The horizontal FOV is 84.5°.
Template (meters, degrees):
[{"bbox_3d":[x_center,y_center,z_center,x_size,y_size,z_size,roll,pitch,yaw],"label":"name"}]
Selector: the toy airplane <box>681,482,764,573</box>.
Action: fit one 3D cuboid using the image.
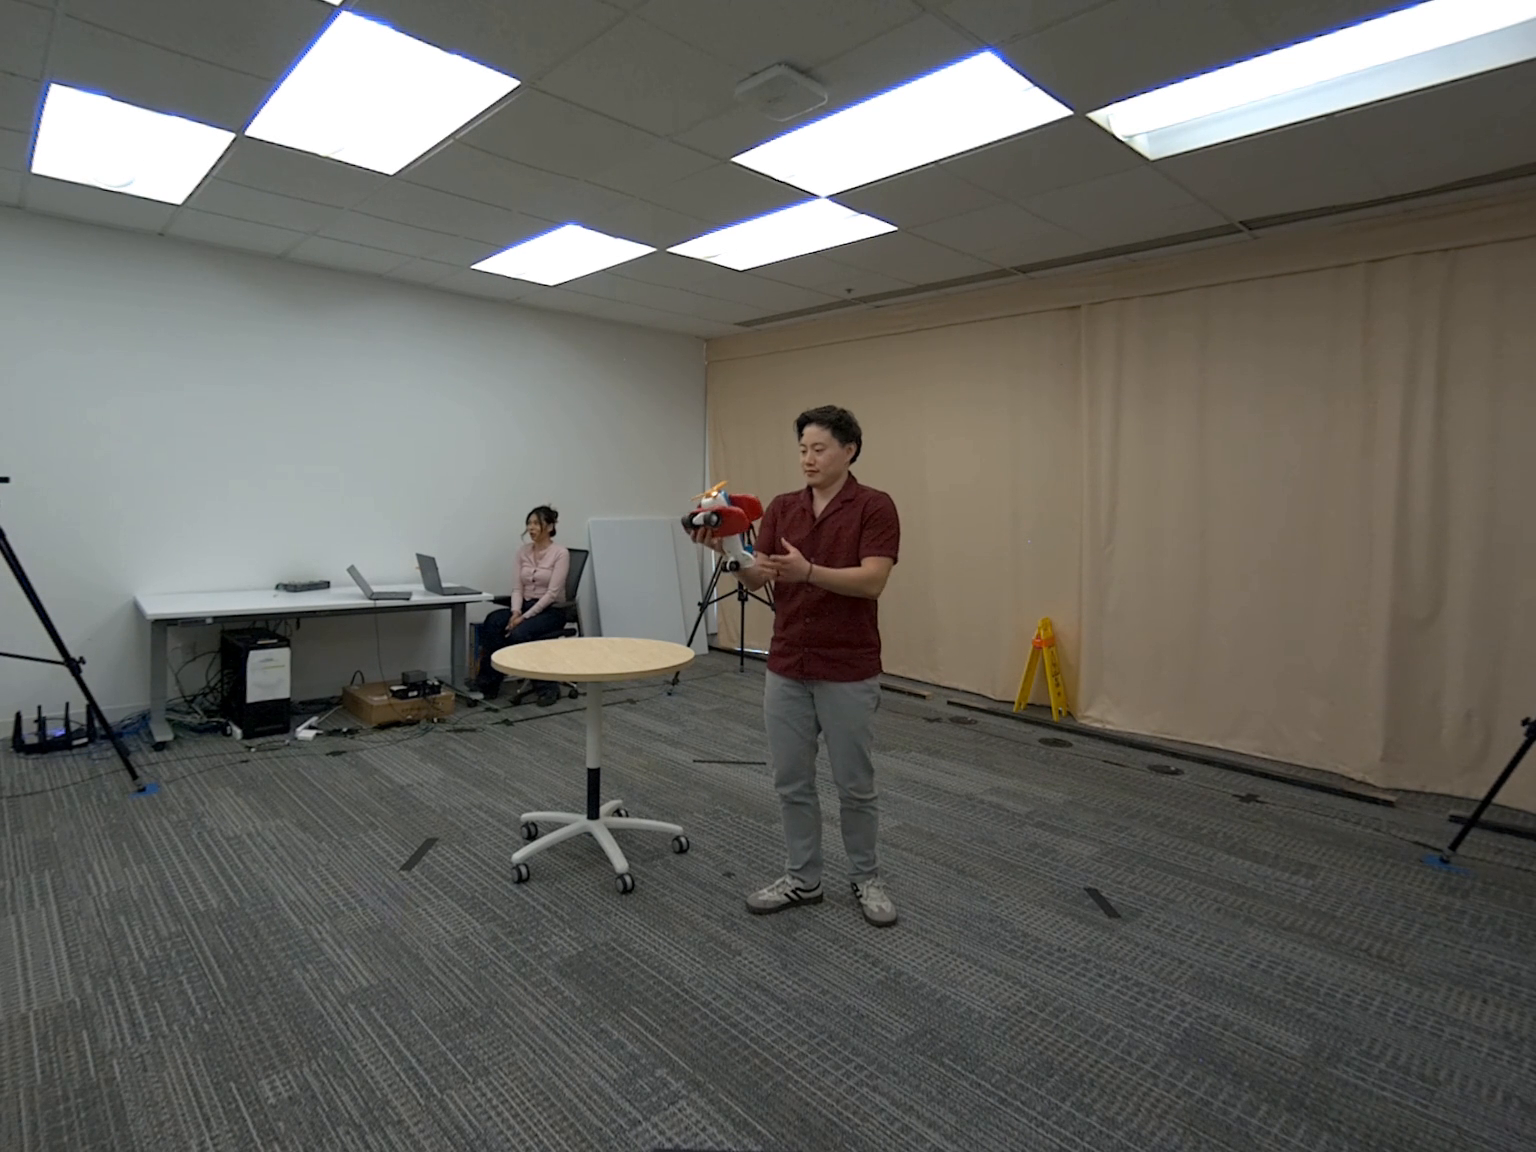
[{"bbox_3d":[-0.135,-0.128,2.504,0.256,0.253,0.157,18,52,21],"label":"toy airplane"}]
